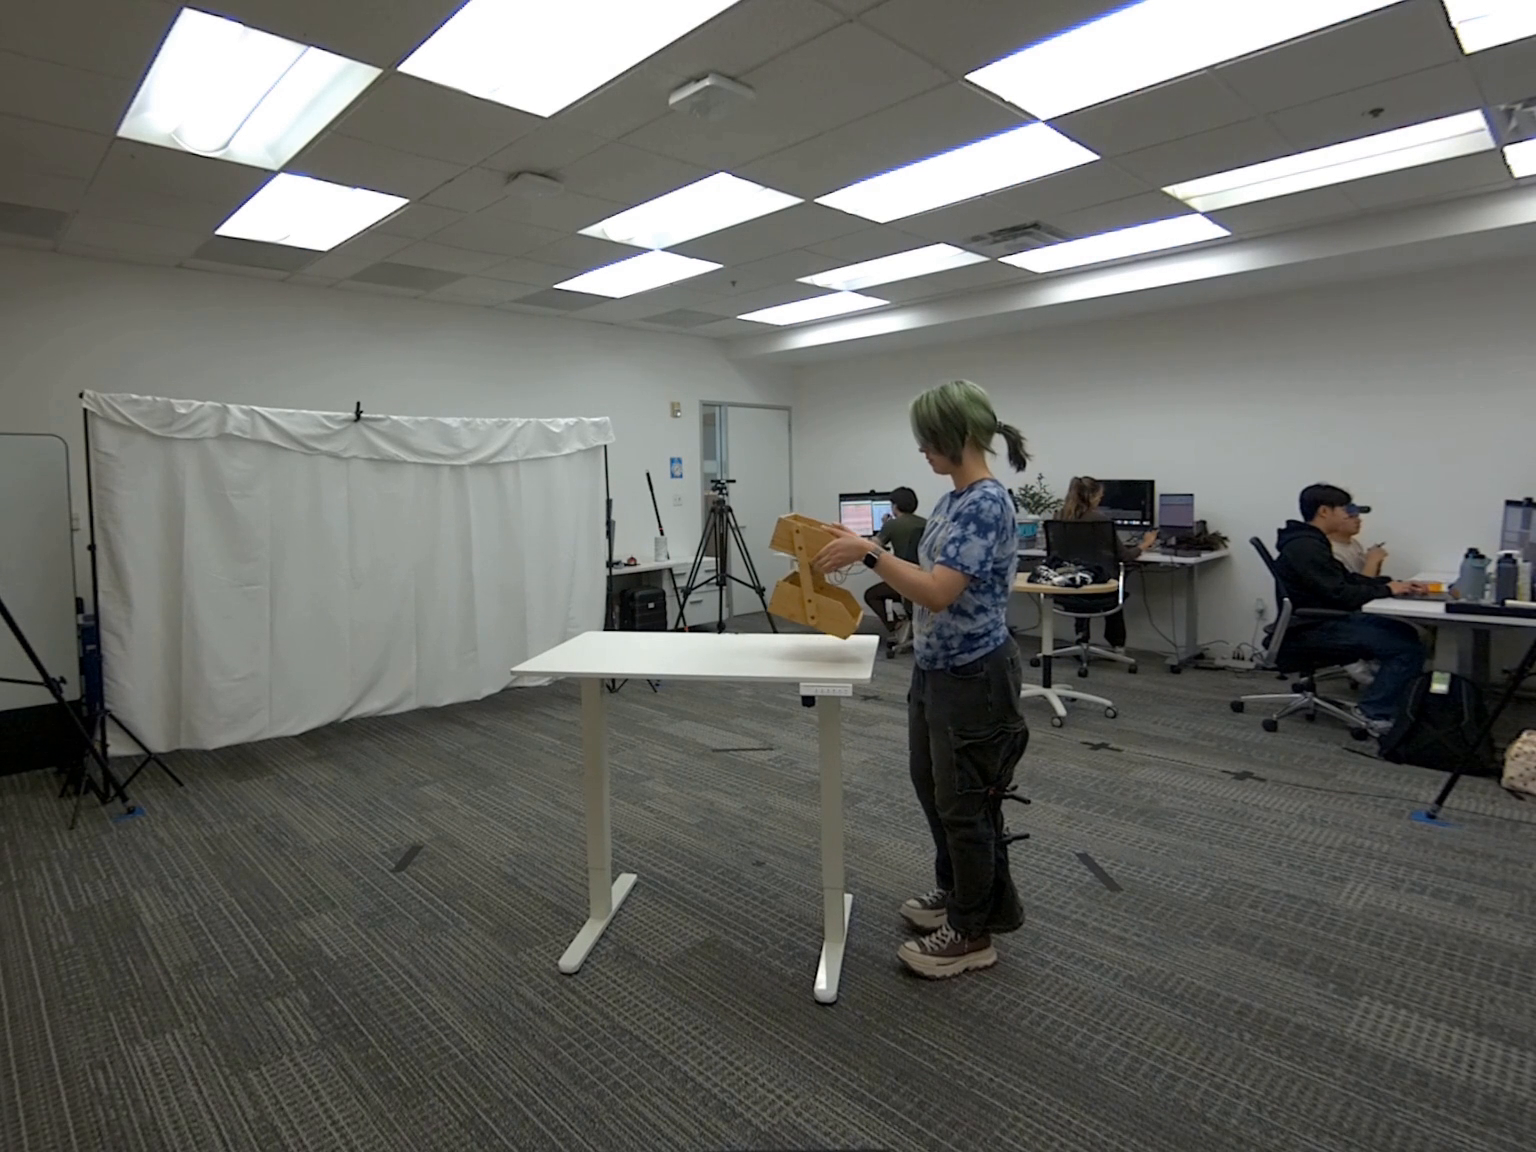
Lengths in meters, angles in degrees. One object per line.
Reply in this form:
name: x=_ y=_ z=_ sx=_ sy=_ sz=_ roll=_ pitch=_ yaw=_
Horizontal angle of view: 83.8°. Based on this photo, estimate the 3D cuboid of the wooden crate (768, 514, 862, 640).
wooden crate: x=0.186 y=-0.004 z=2.459 sx=0.306 sy=0.272 sz=0.322 roll=19 pitch=8 yaw=9
